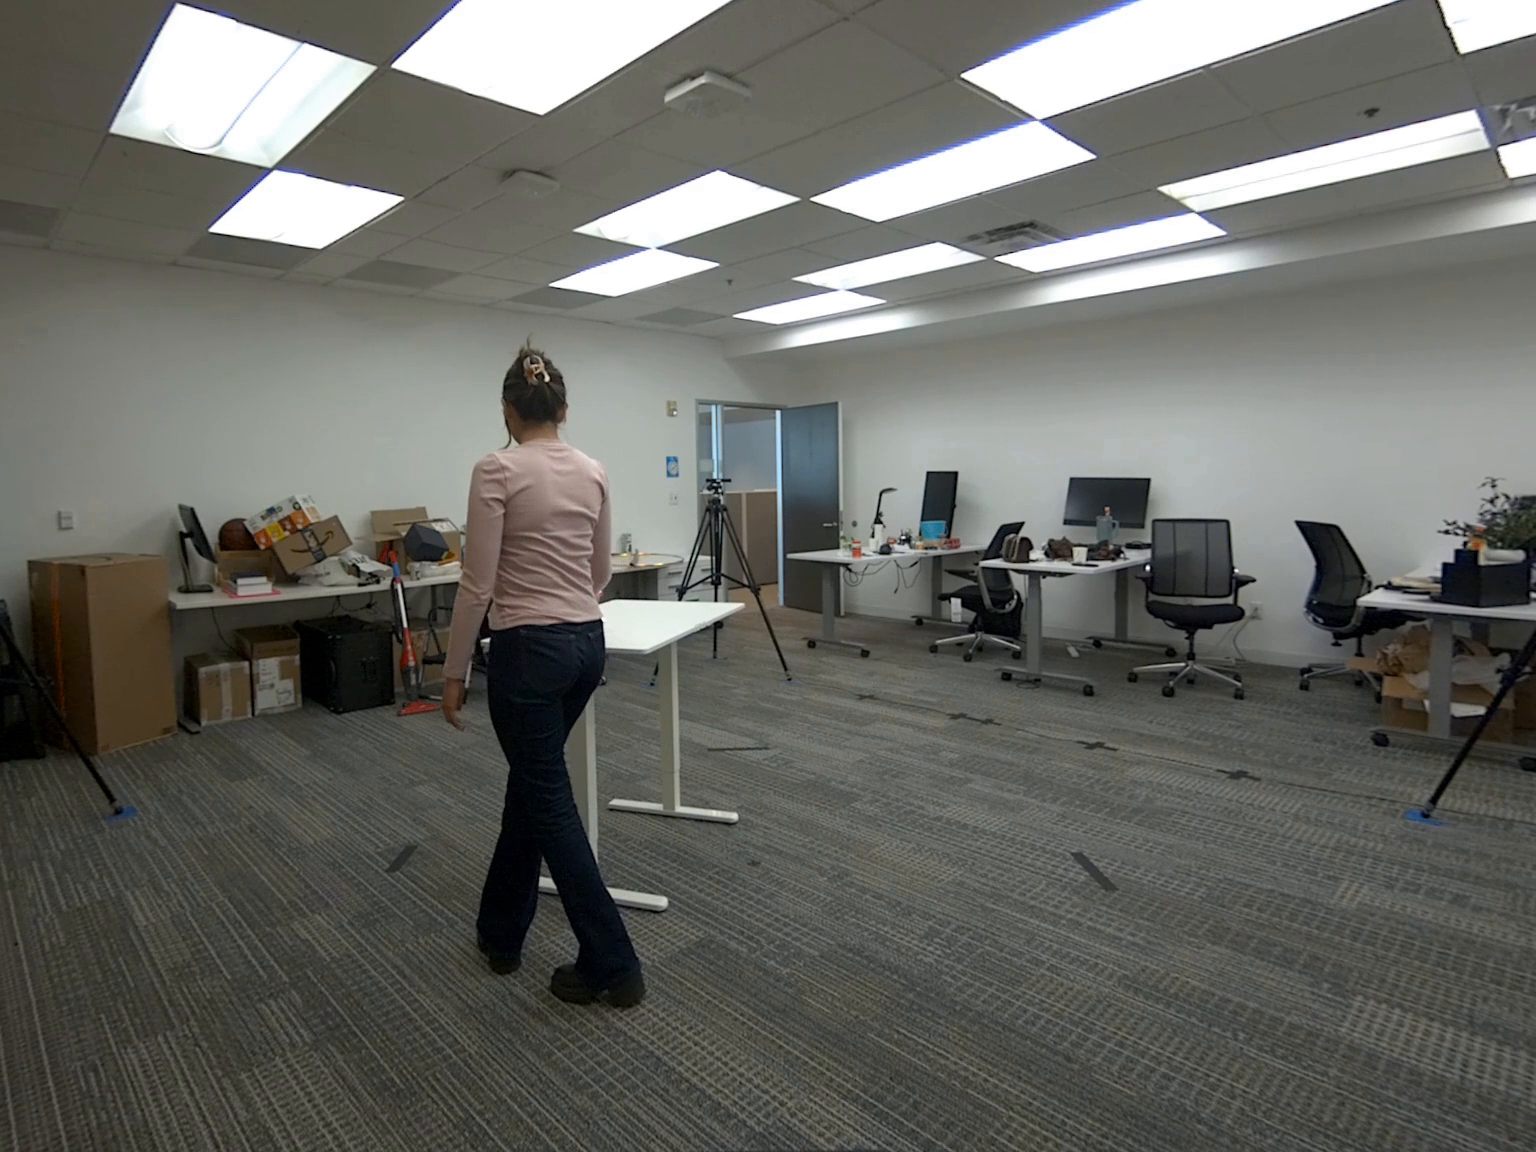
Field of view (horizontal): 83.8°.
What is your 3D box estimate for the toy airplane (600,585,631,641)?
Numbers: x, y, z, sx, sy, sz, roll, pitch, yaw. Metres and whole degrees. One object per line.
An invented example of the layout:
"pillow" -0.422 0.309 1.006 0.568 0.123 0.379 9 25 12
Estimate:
"toy airplane" -0.643 0.122 2.896 0.264 0.156 0.247 0 6 20
